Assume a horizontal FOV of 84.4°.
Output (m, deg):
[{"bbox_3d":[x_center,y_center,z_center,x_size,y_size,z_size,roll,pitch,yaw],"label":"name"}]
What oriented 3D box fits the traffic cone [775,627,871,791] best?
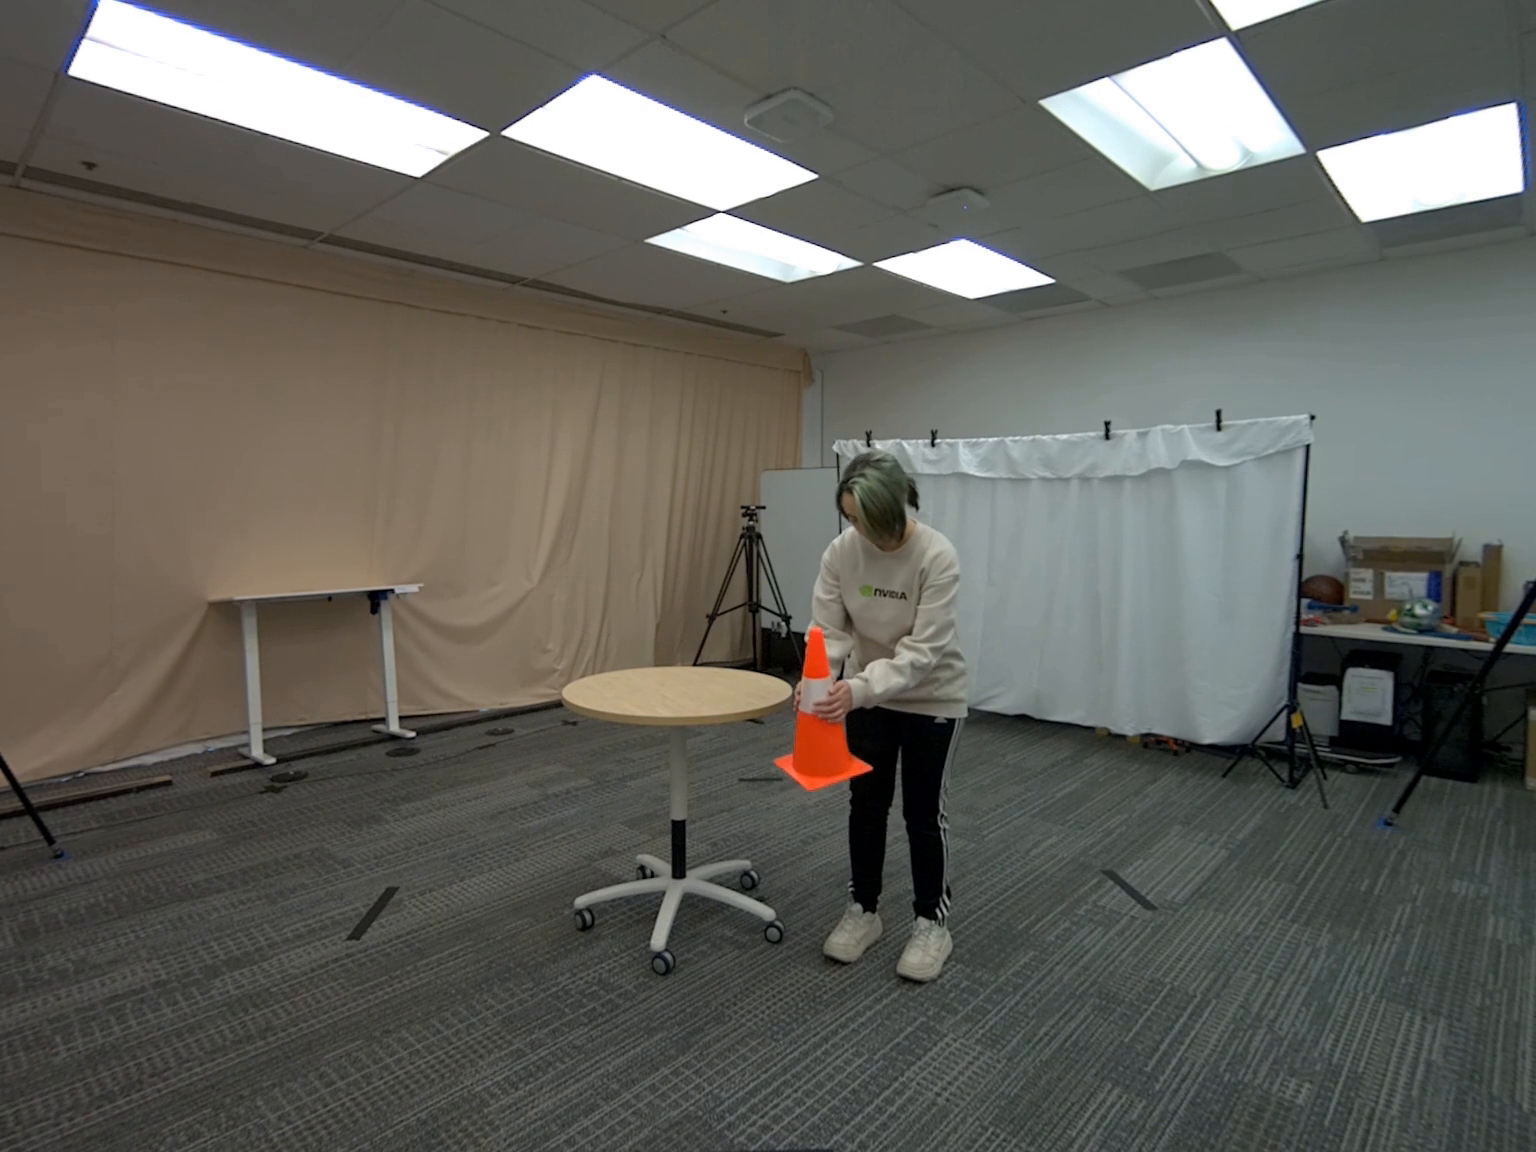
[{"bbox_3d":[0.138,0.327,2.211,0.199,0.382,0.210,-7,9,-37],"label":"traffic cone"}]
